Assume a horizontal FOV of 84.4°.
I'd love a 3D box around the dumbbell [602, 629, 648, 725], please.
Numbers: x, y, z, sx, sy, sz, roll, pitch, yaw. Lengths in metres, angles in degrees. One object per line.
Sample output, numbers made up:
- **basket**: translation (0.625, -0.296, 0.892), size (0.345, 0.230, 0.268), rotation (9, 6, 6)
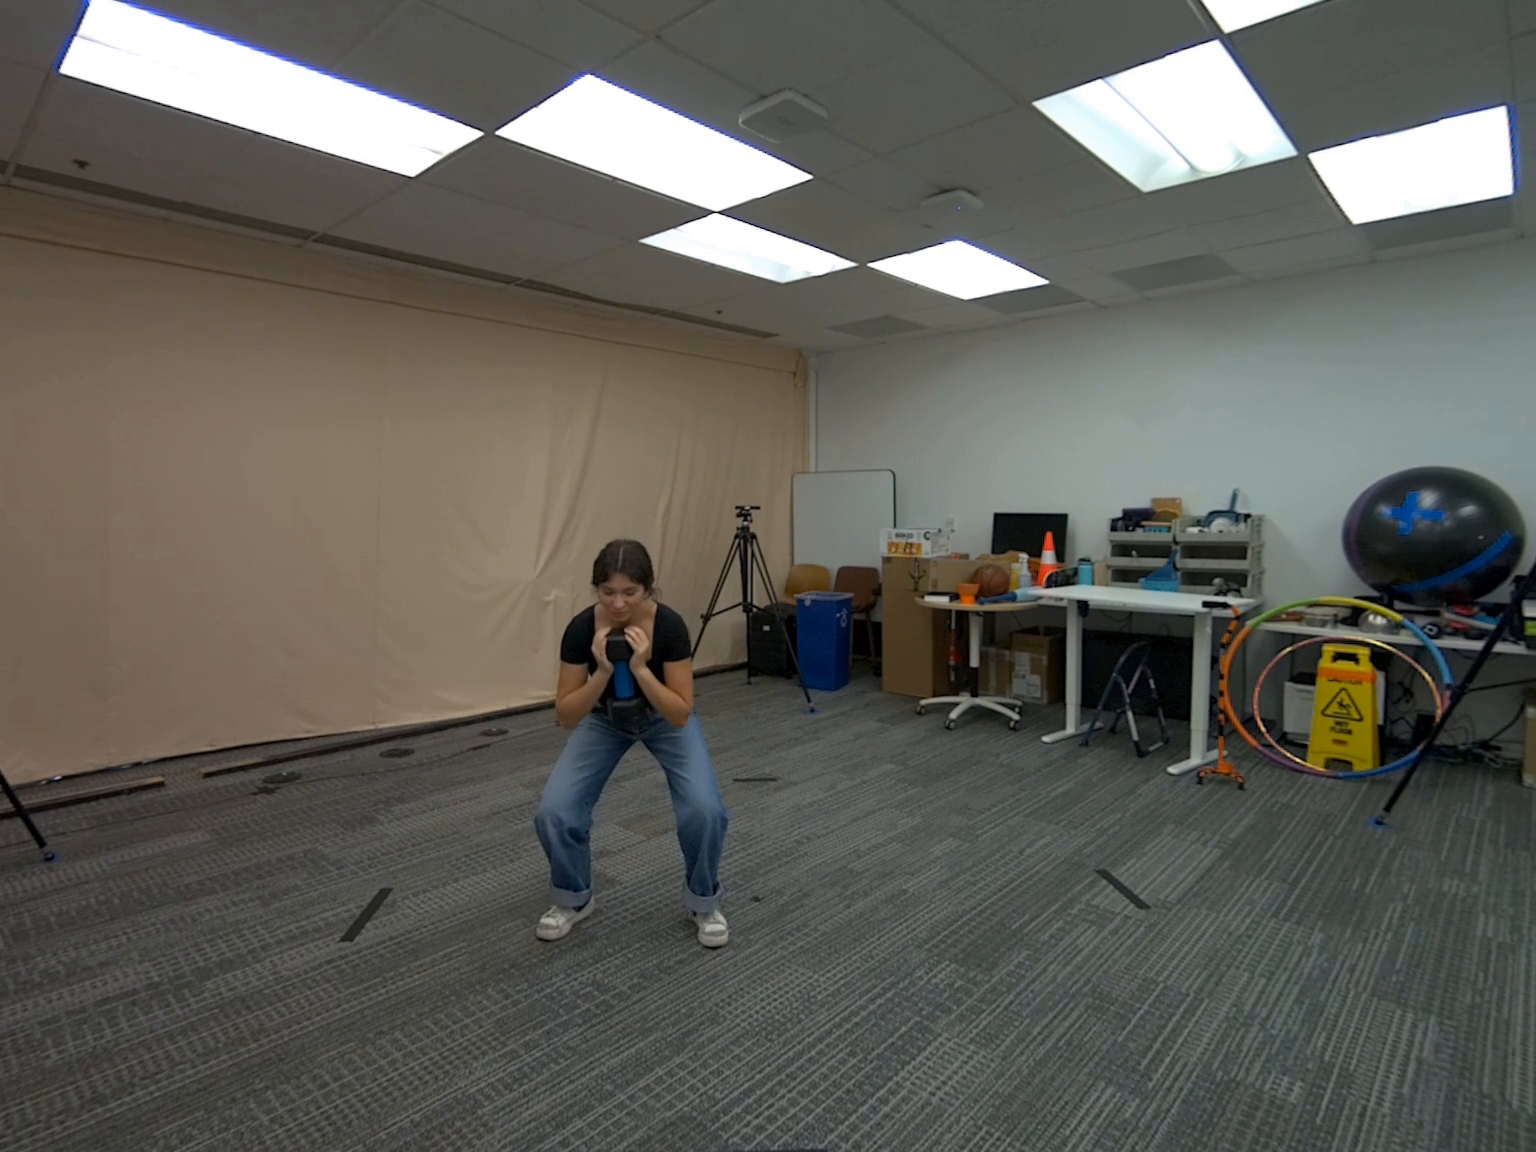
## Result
- **dumbbell**: translation (-0.446, 0.309, 2.614), size (0.112, 0.290, 0.121), rotation (6, 18, 29)
